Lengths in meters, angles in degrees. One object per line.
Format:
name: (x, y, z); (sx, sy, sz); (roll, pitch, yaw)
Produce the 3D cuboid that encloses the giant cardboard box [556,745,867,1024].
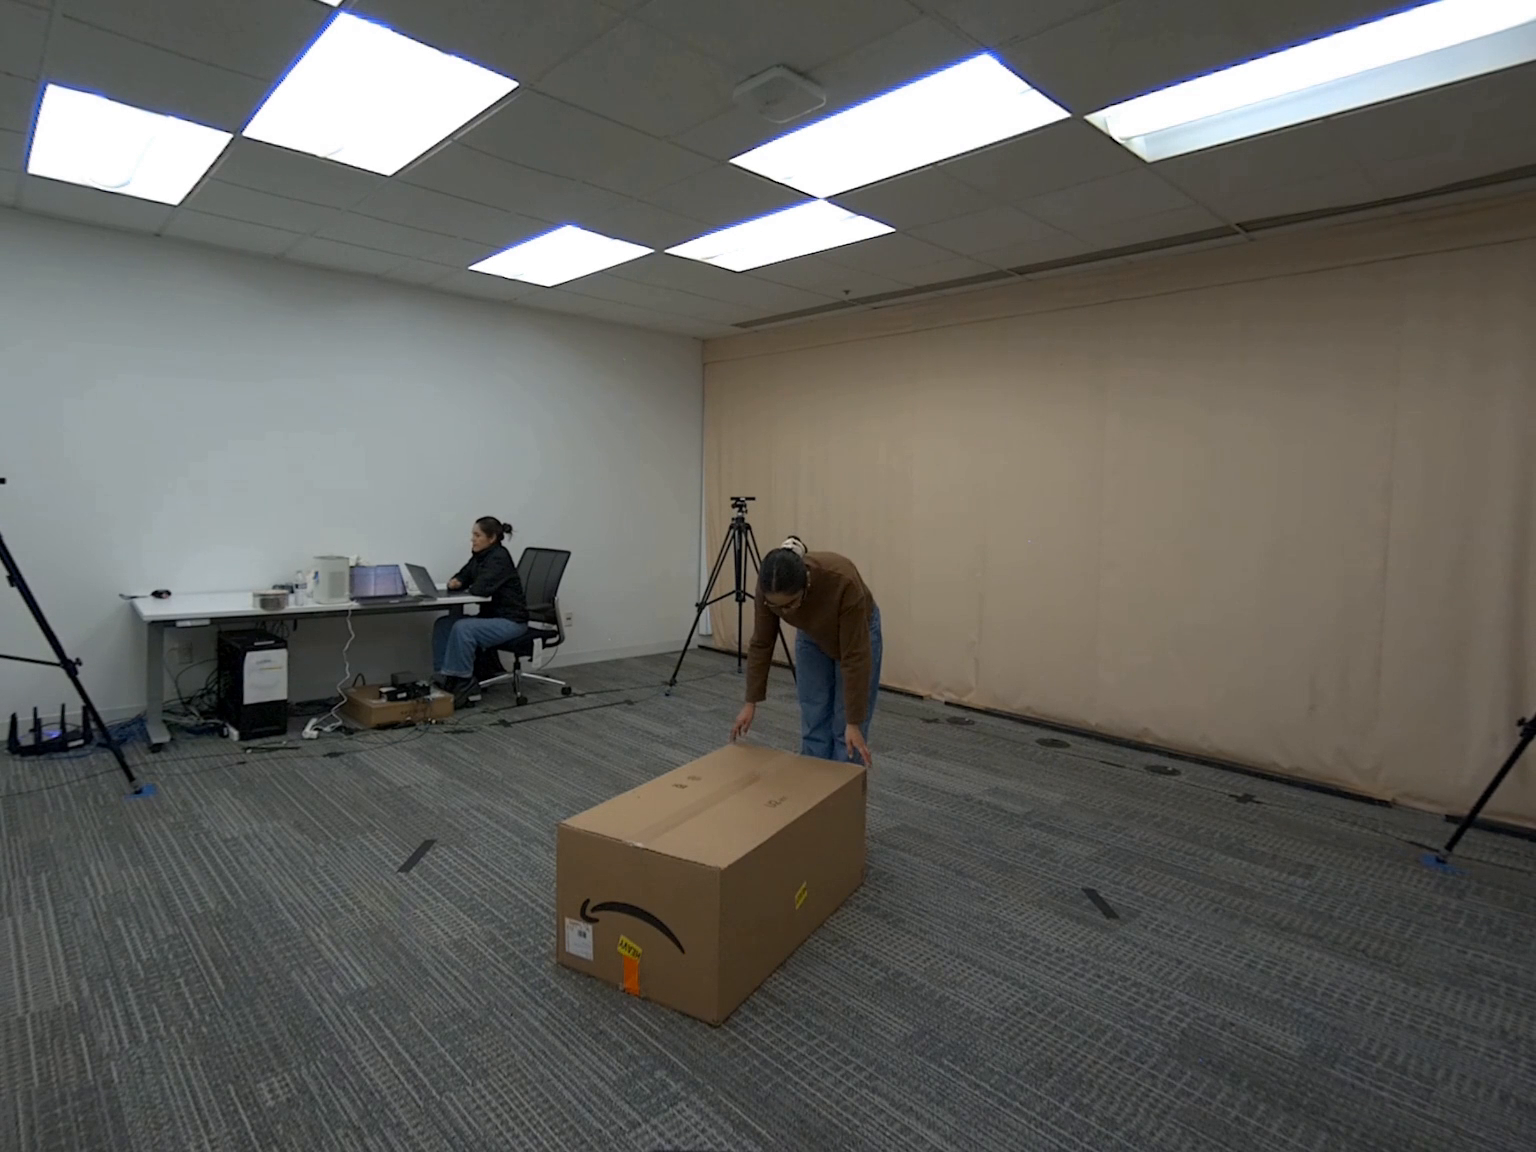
giant cardboard box: (-0.141, 0.924, 2.769); (0.597, 0.445, 1.008); (5, 6, 29)
